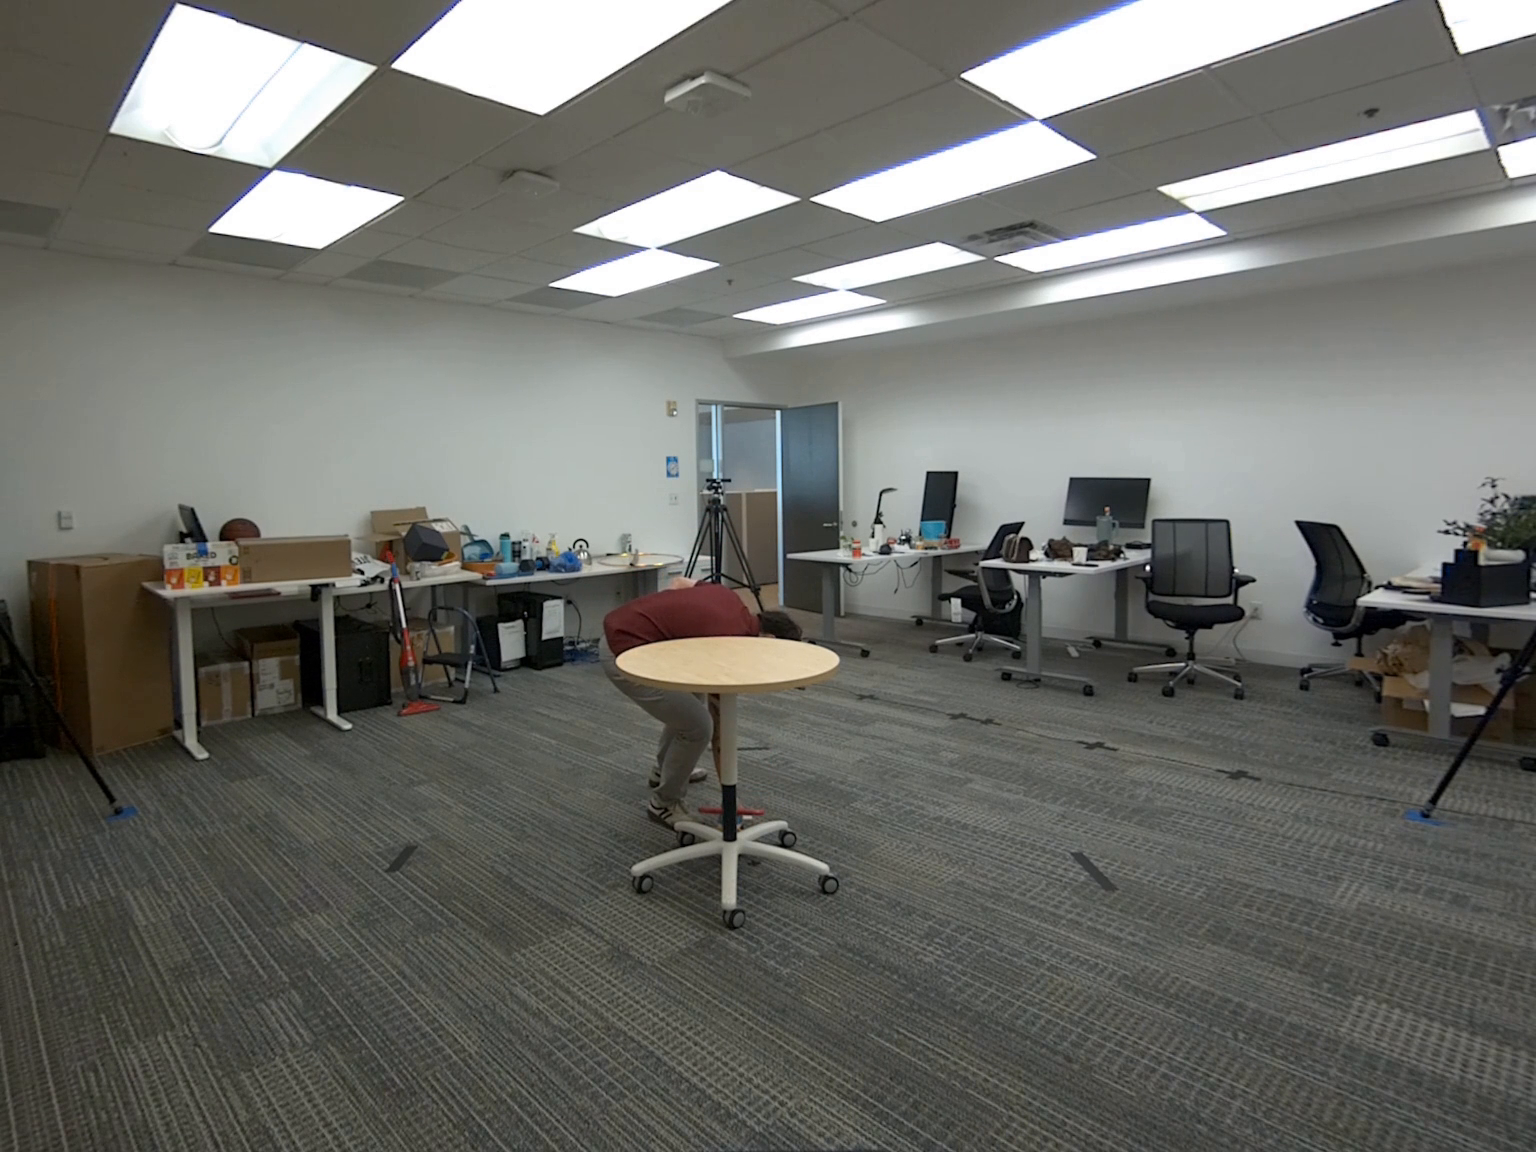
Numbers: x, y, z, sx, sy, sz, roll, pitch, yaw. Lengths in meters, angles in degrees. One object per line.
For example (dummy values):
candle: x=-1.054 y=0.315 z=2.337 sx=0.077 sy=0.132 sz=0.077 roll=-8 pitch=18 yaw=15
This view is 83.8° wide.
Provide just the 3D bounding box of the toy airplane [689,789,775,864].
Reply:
toy airplane: x=-0.144 y=0.952 z=3.284 sx=0.247 sy=0.156 sz=0.265 roll=-3 pitch=6 yaw=-20
